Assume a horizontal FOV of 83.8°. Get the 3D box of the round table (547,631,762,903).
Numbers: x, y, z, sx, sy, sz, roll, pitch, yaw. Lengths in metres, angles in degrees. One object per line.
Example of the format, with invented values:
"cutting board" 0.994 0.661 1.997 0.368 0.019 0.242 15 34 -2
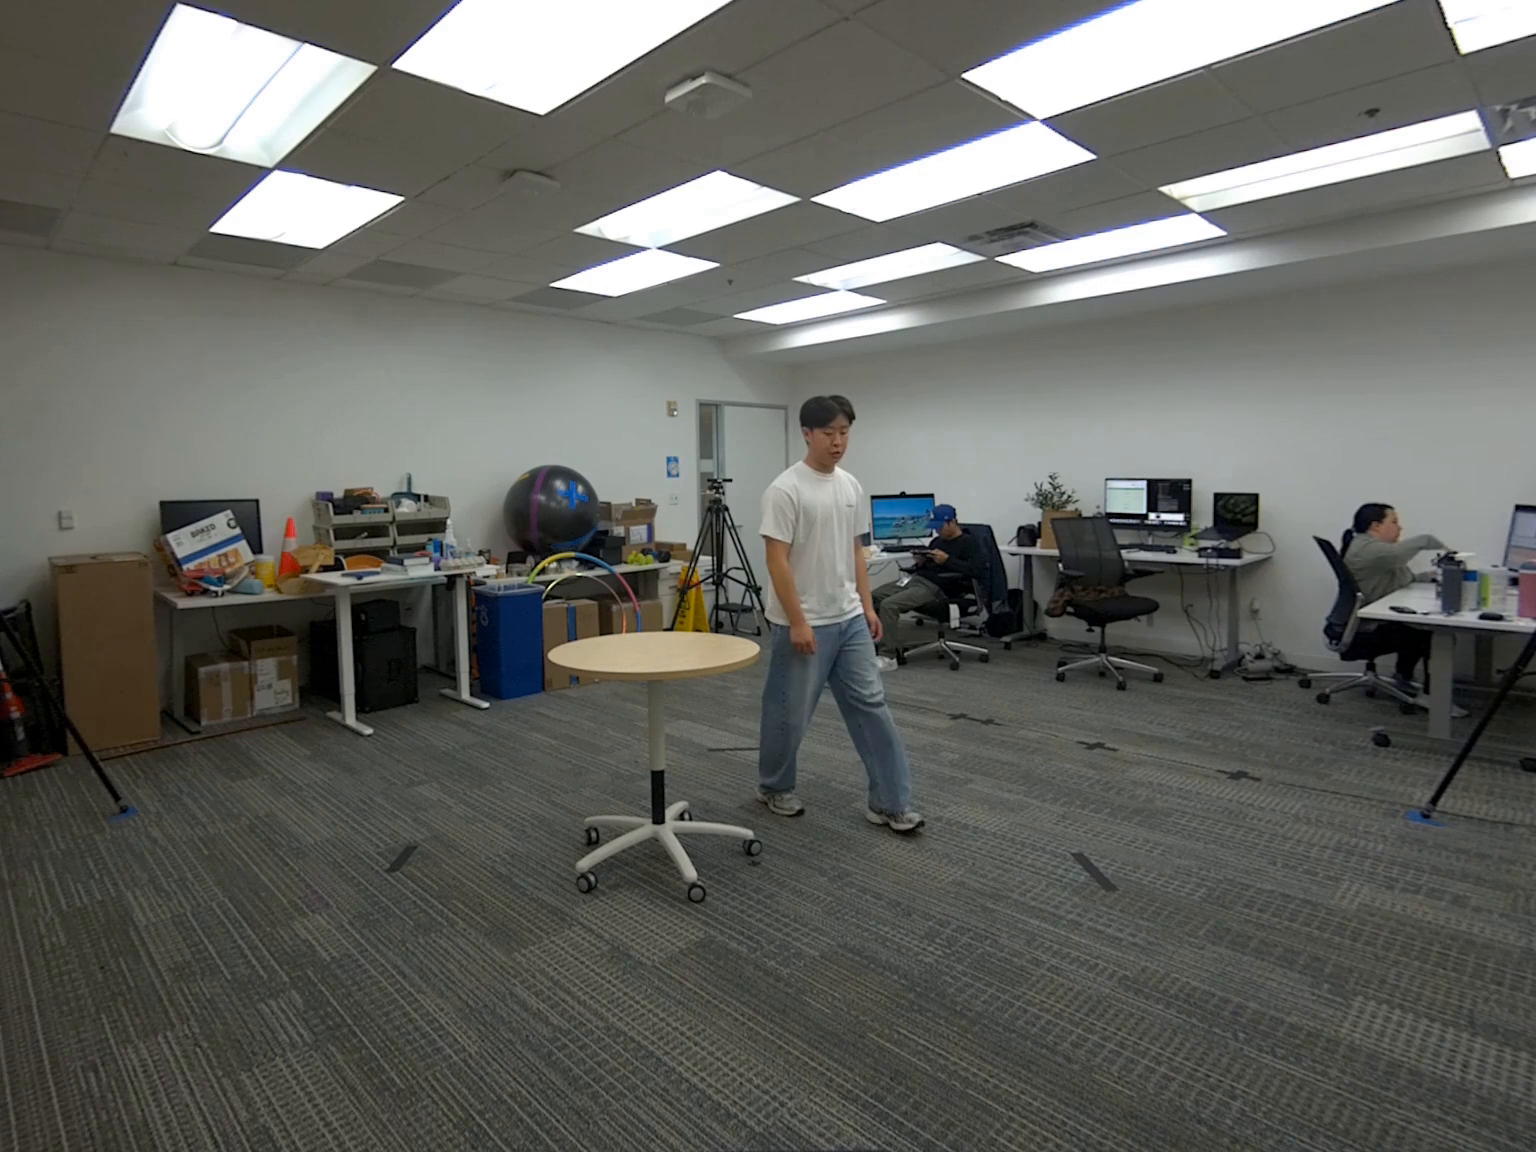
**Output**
"round table" -0.401 0.660 3.127 0.763 0.791 0.768 -1 5 -2
